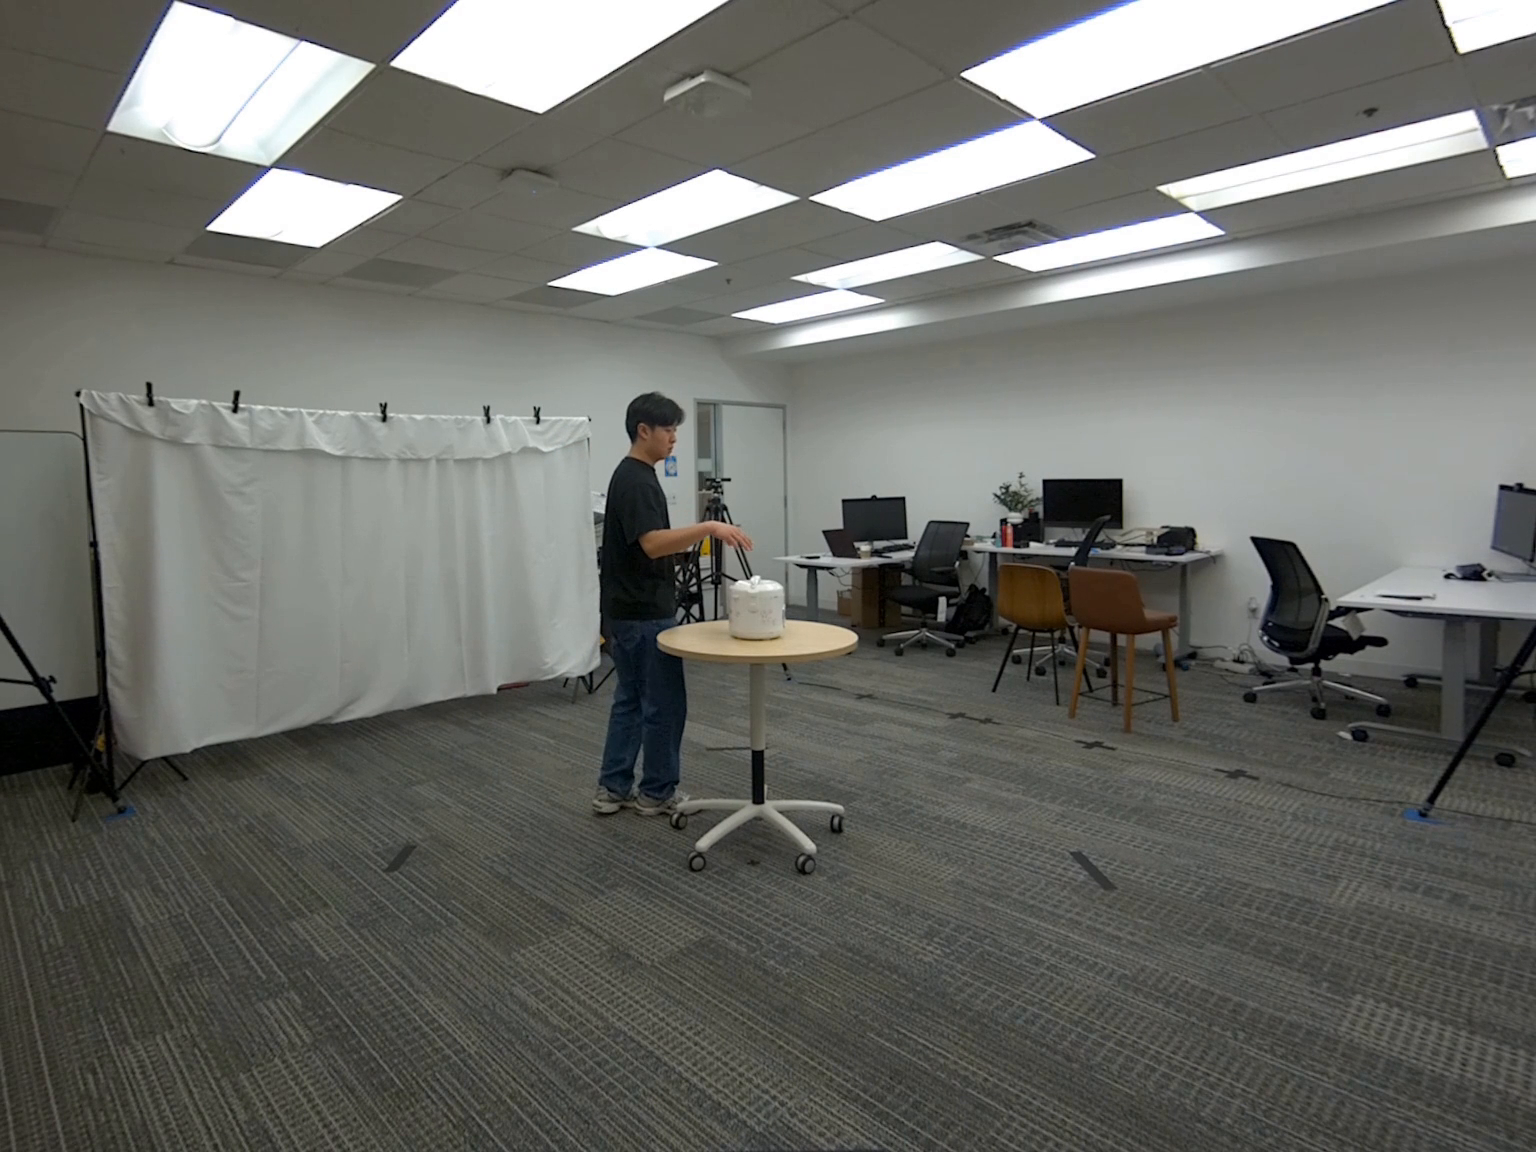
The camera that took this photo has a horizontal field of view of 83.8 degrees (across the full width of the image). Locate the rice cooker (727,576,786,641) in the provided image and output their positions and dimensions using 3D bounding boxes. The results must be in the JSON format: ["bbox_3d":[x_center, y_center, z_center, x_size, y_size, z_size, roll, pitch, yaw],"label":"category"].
[{"bbox_3d":[-0.041,0.112,3.243,0.219,0.232,0.219,-1,4,8],"label":"rice cooker"}]
